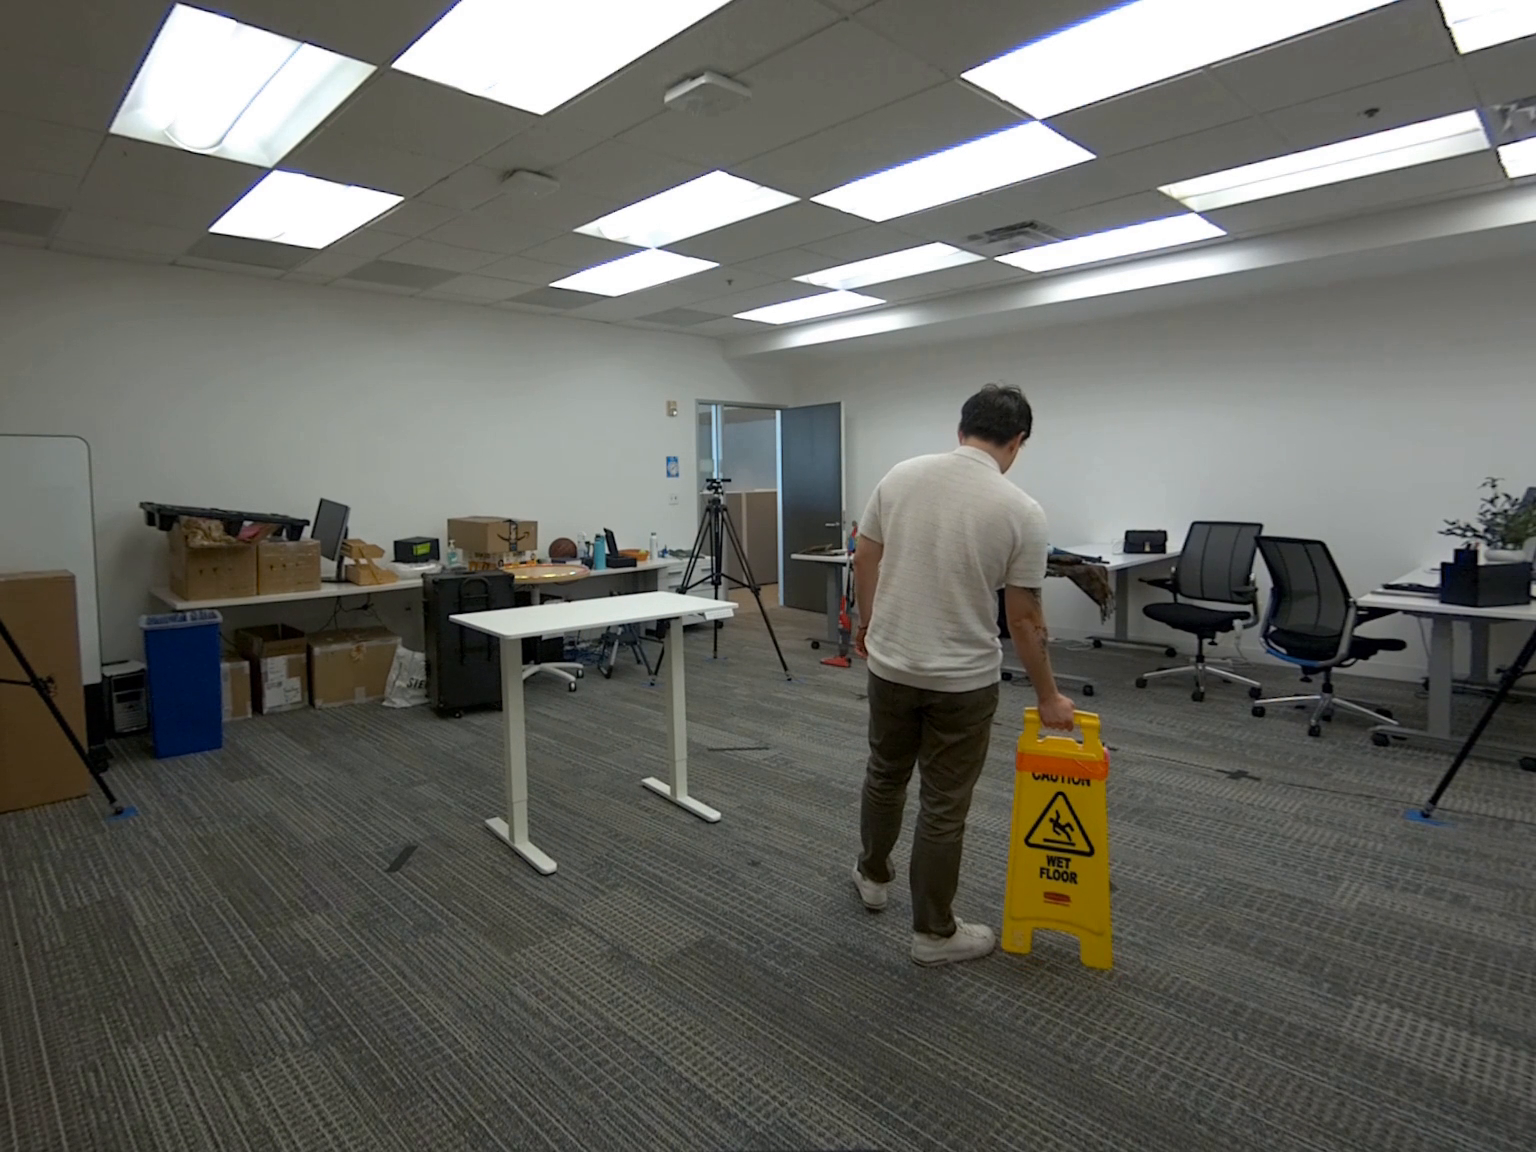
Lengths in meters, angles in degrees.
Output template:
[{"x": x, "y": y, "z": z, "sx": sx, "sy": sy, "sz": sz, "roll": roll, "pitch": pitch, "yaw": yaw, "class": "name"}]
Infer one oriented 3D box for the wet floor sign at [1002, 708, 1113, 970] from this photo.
[{"x": 0.820, "y": 0.697, "z": 2.407, "sx": 0.287, "sy": 0.643, "sz": 0.285, "roll": 0, "pitch": 5, "yaw": 19, "class": "wet floor sign"}]
